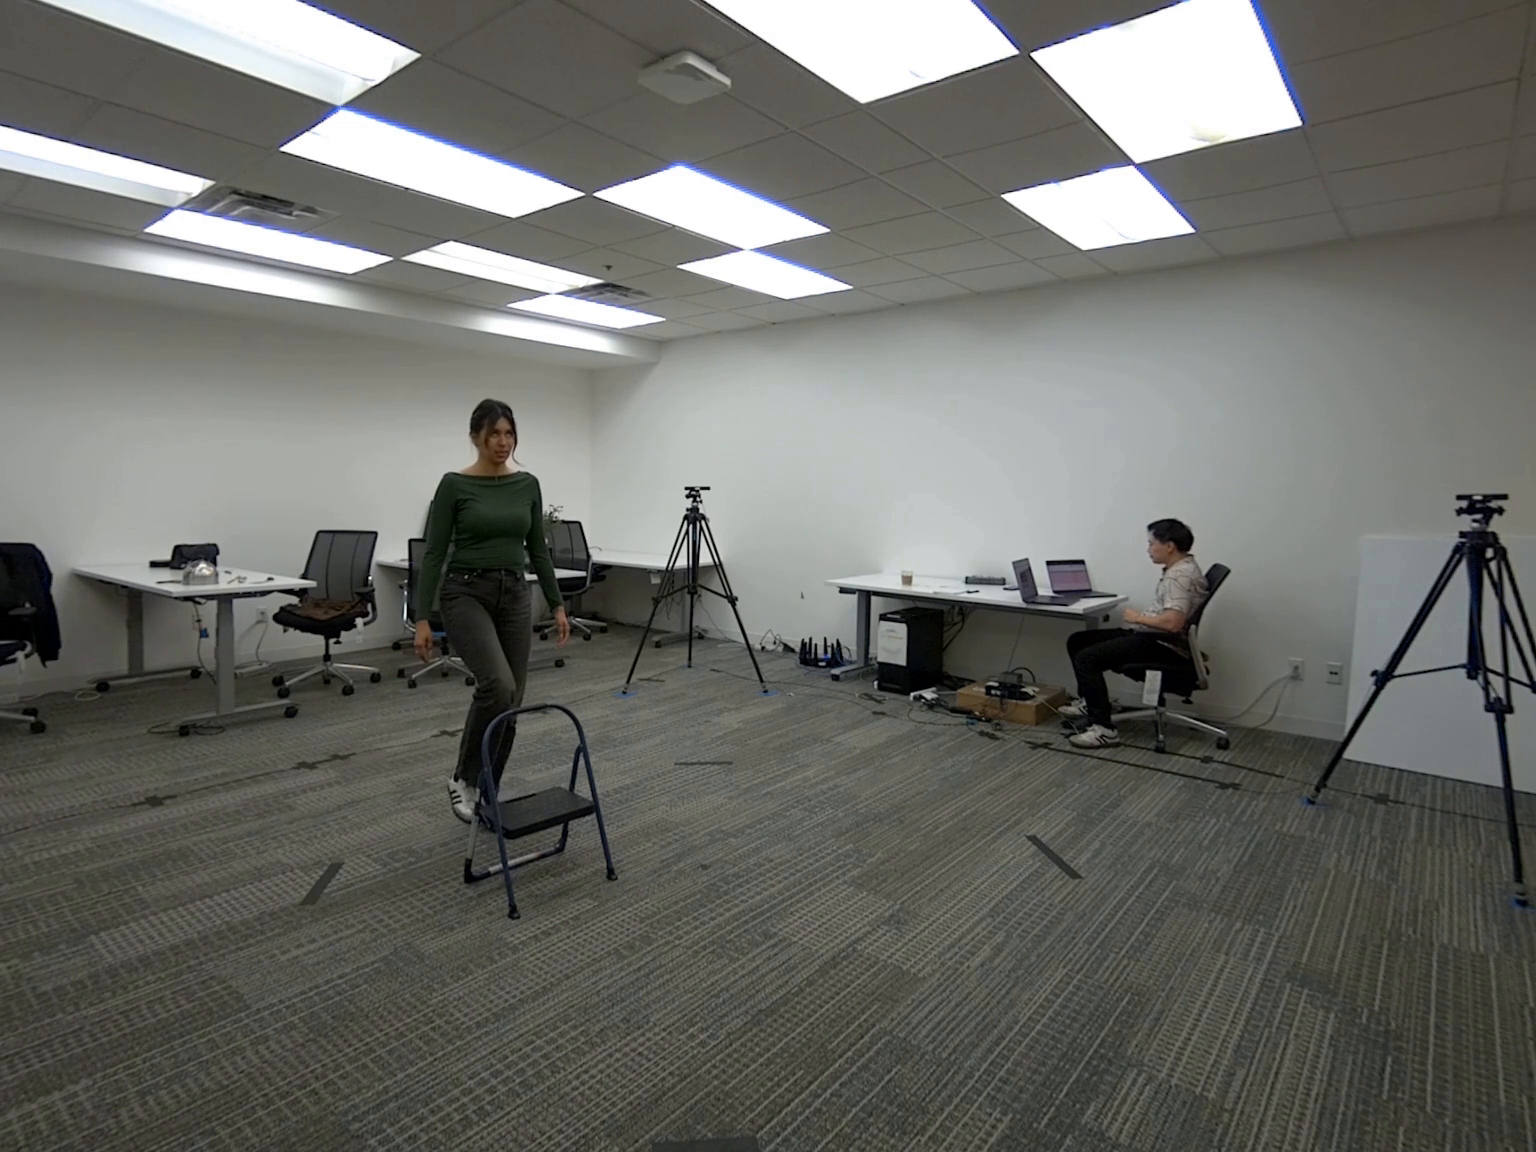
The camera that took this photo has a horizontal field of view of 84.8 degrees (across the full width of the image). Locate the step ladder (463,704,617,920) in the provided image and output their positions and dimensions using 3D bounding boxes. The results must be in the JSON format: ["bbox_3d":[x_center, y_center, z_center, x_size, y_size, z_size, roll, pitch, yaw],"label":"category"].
[{"bbox_3d":[-0.807,0.766,2.974,0.361,0.604,0.417,4,4,43],"label":"step ladder"}]
